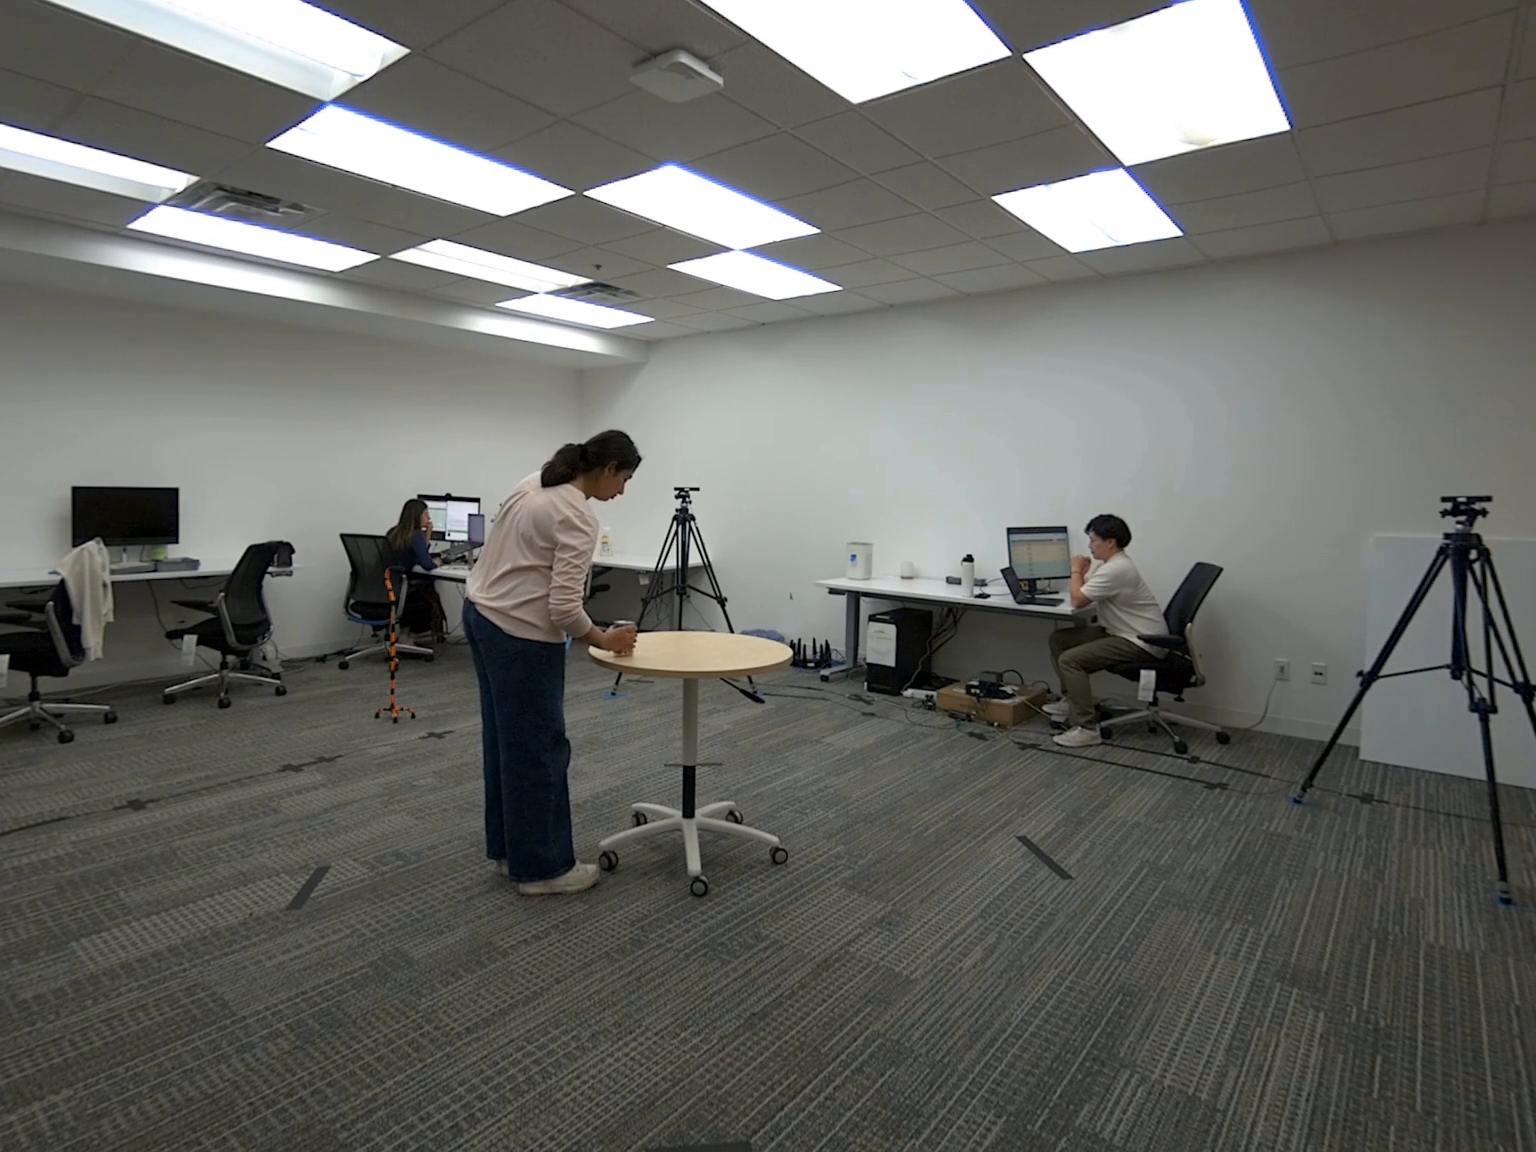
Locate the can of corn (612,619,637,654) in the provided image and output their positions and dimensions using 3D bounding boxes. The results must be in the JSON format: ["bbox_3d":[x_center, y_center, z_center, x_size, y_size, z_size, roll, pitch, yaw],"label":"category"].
[{"bbox_3d":[-0.522,0.217,3.046,0.074,0.110,0.074,-2,4,-2],"label":"can of corn"}]
